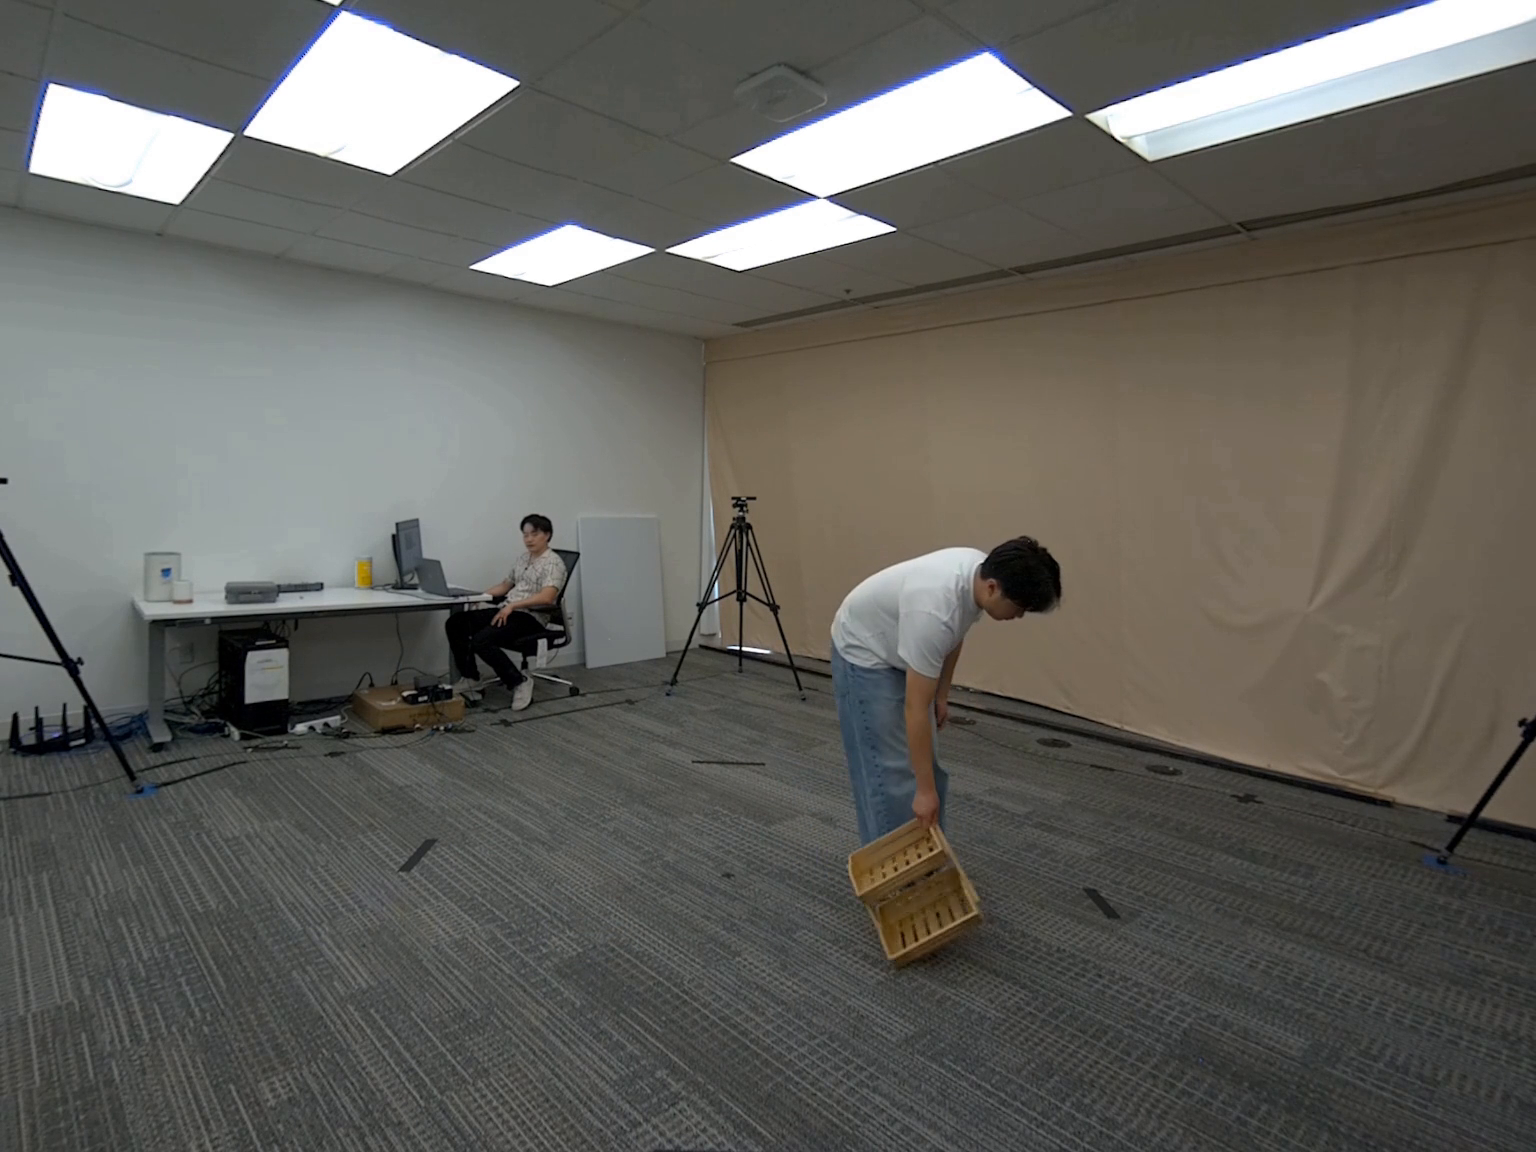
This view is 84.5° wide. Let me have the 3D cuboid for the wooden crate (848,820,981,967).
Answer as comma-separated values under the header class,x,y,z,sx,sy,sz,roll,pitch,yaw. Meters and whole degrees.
class,x,y,z,sx,sy,sz,roll,pitch,yaw
wooden crate,0.440,0.971,2.623,0.325,0.274,0.301,-32,0,6
